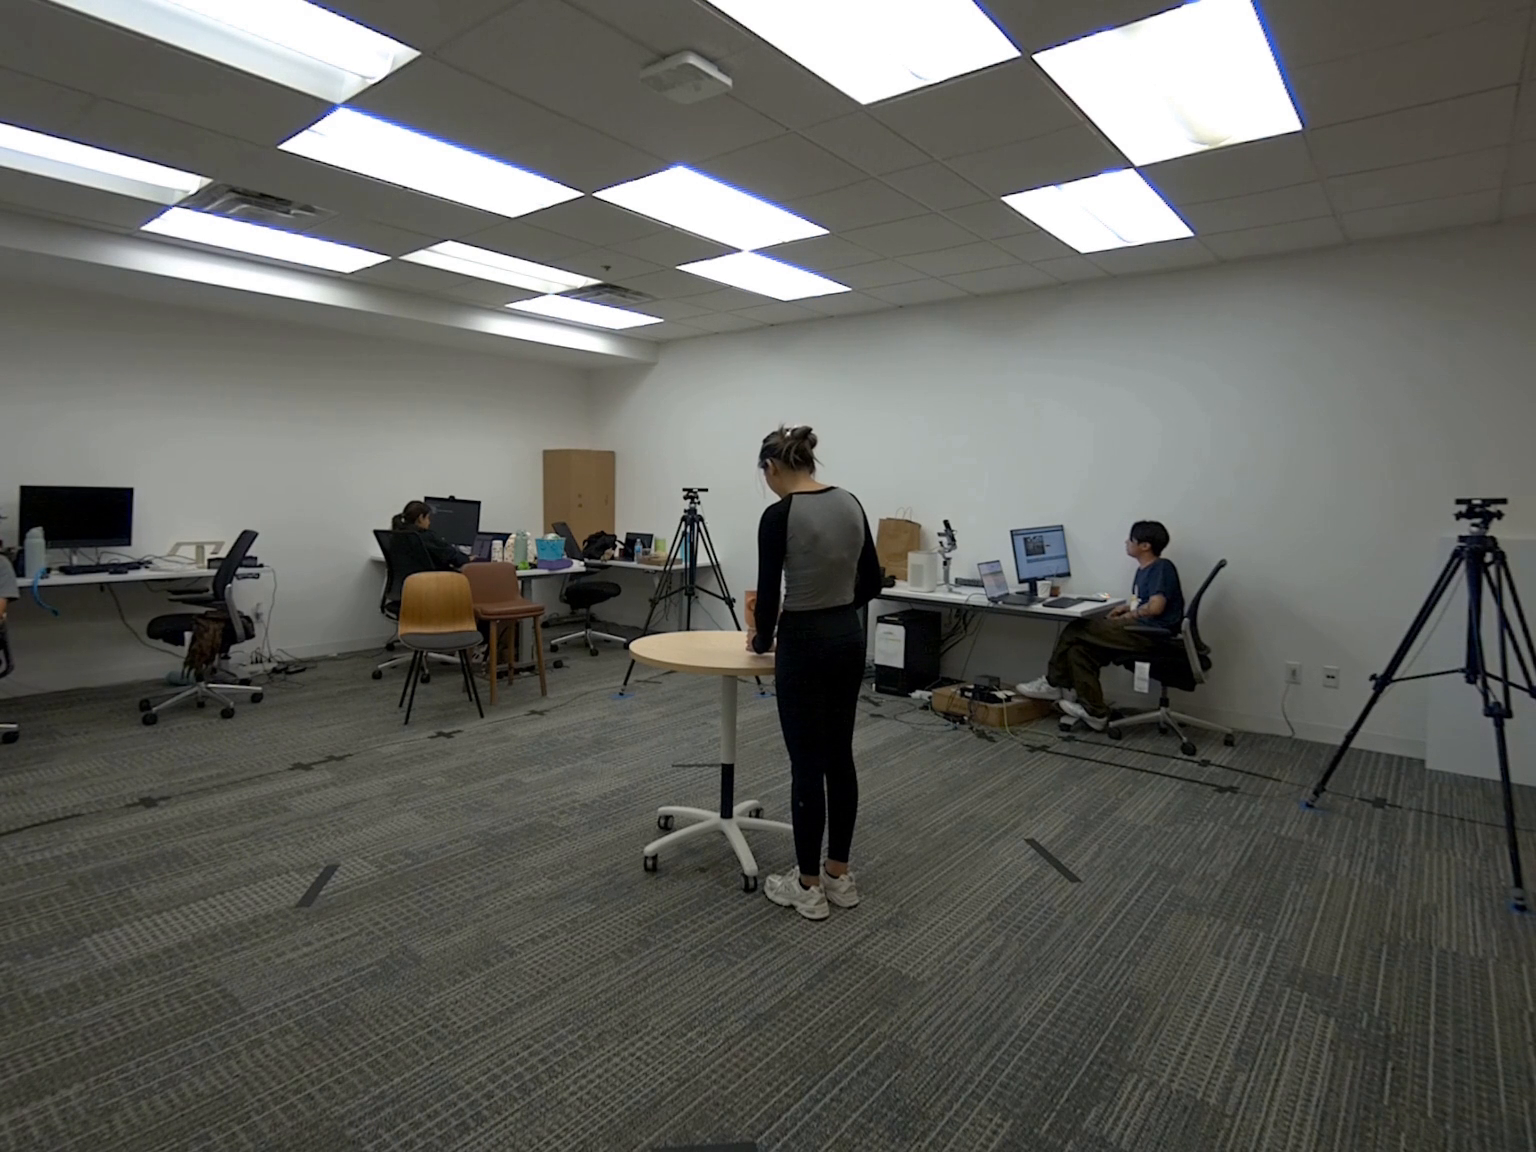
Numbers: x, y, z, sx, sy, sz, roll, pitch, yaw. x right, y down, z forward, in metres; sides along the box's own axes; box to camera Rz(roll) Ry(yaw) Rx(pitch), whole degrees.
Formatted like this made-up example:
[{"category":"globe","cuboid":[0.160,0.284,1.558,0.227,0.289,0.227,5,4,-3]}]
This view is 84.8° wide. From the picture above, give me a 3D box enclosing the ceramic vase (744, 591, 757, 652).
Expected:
[{"category":"ceramic vase","cuboid":[-0.030,0.162,3.066,0.156,0.220,0.137,3,-3,-18]}]
